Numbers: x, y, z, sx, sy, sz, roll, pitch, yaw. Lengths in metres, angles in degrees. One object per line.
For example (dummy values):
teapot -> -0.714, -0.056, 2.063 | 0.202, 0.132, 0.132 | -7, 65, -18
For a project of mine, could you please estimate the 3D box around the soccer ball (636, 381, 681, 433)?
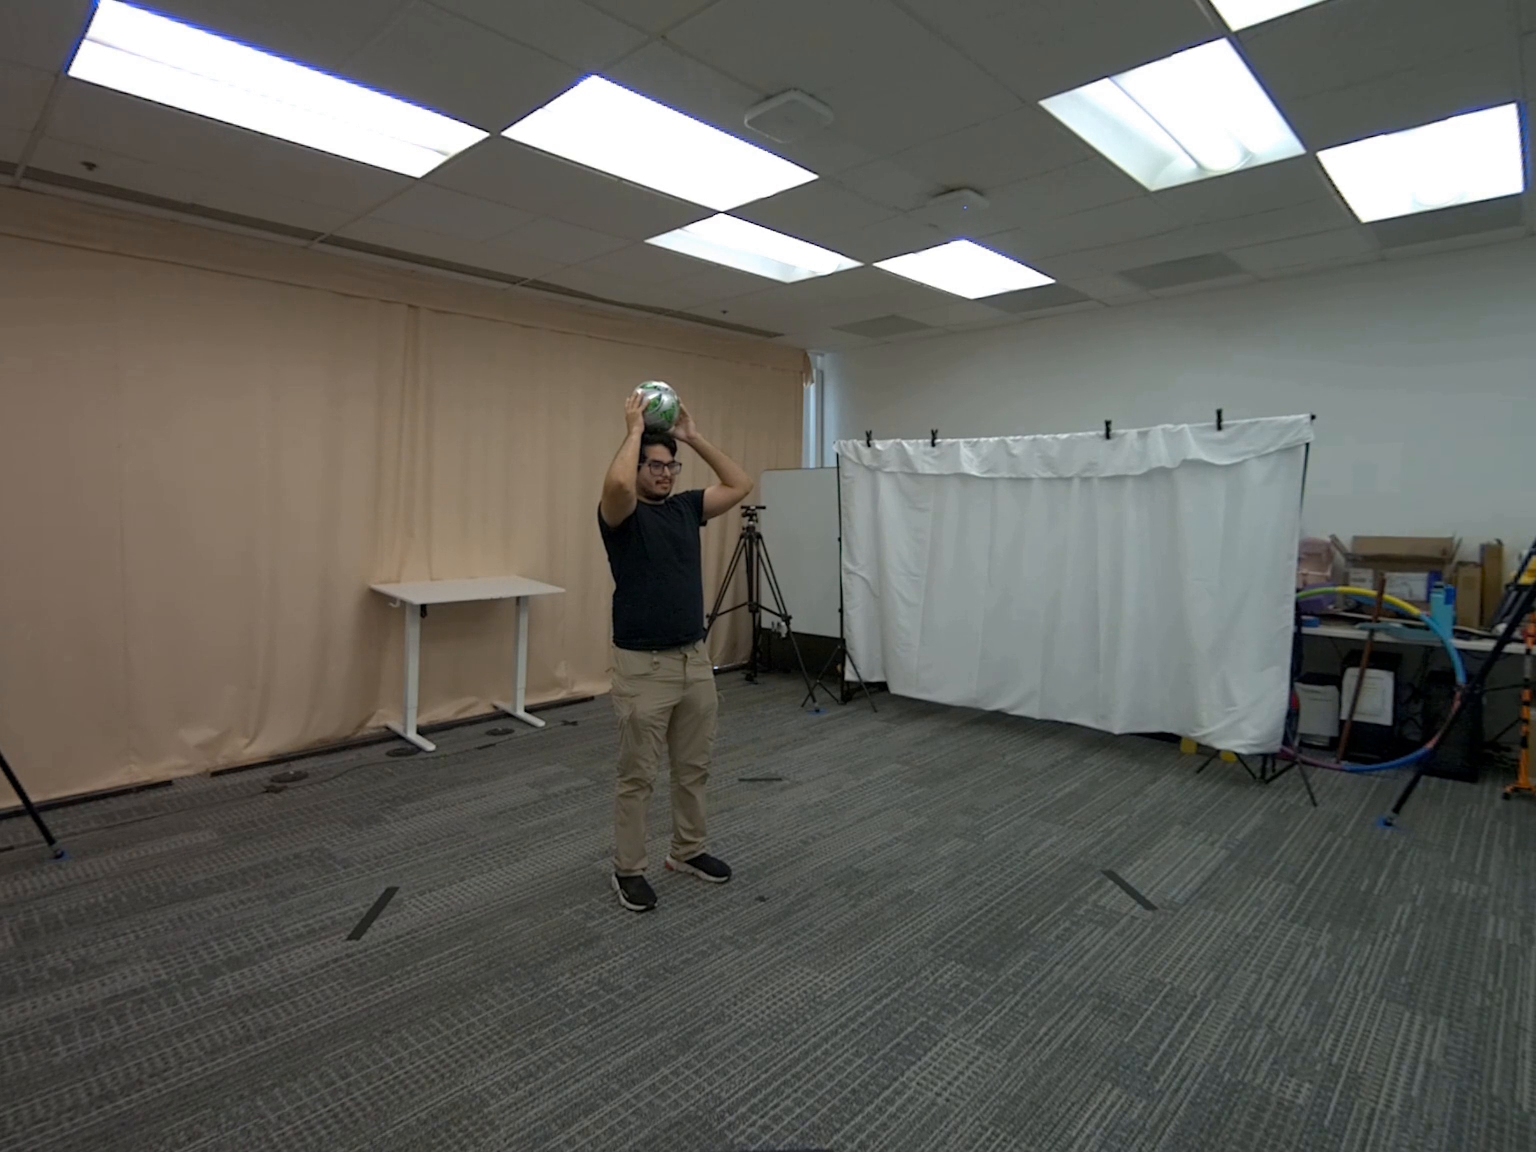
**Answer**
soccer ball -> -0.400, -0.594, 2.979 | 0.187, 0.187, 0.188 | 0, 4, -2
